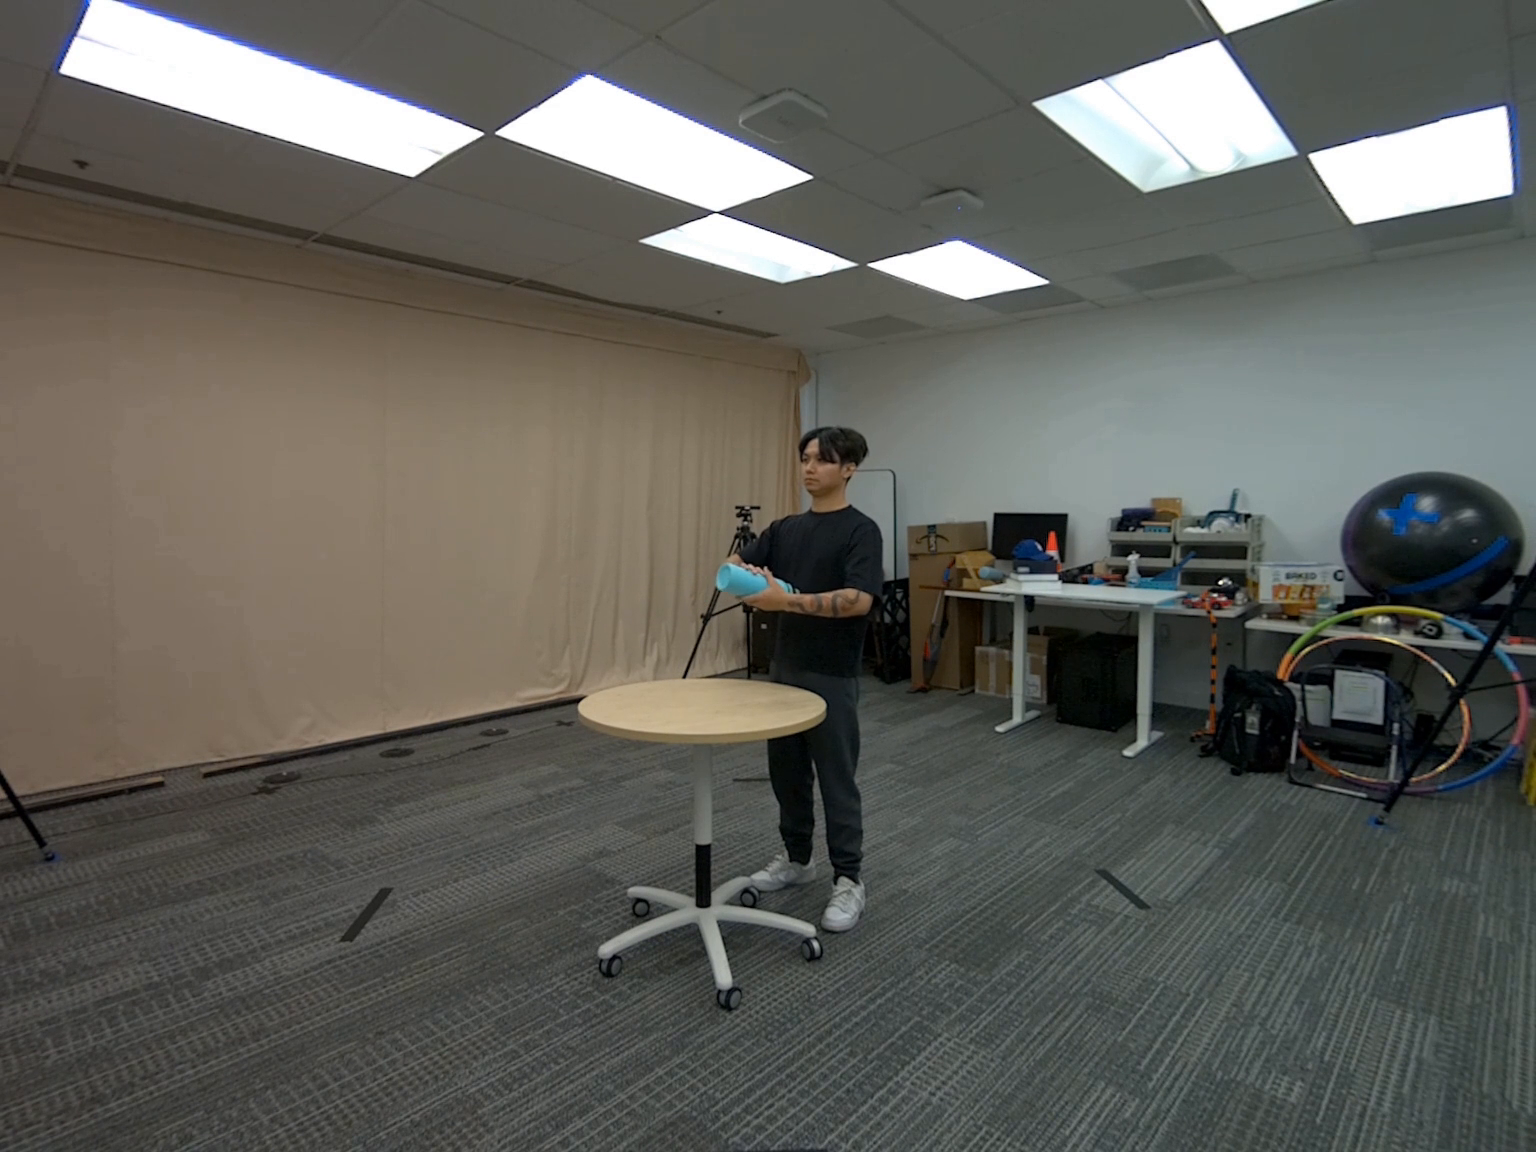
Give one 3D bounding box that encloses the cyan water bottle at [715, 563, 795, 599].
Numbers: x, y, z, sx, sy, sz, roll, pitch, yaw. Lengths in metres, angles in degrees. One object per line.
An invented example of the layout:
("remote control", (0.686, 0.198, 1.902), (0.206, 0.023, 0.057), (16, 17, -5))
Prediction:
("cyan water bottle", (-0.026, 0.035, 2.715), (0.275, 0.092, 0.095), (17, -6, -30))
